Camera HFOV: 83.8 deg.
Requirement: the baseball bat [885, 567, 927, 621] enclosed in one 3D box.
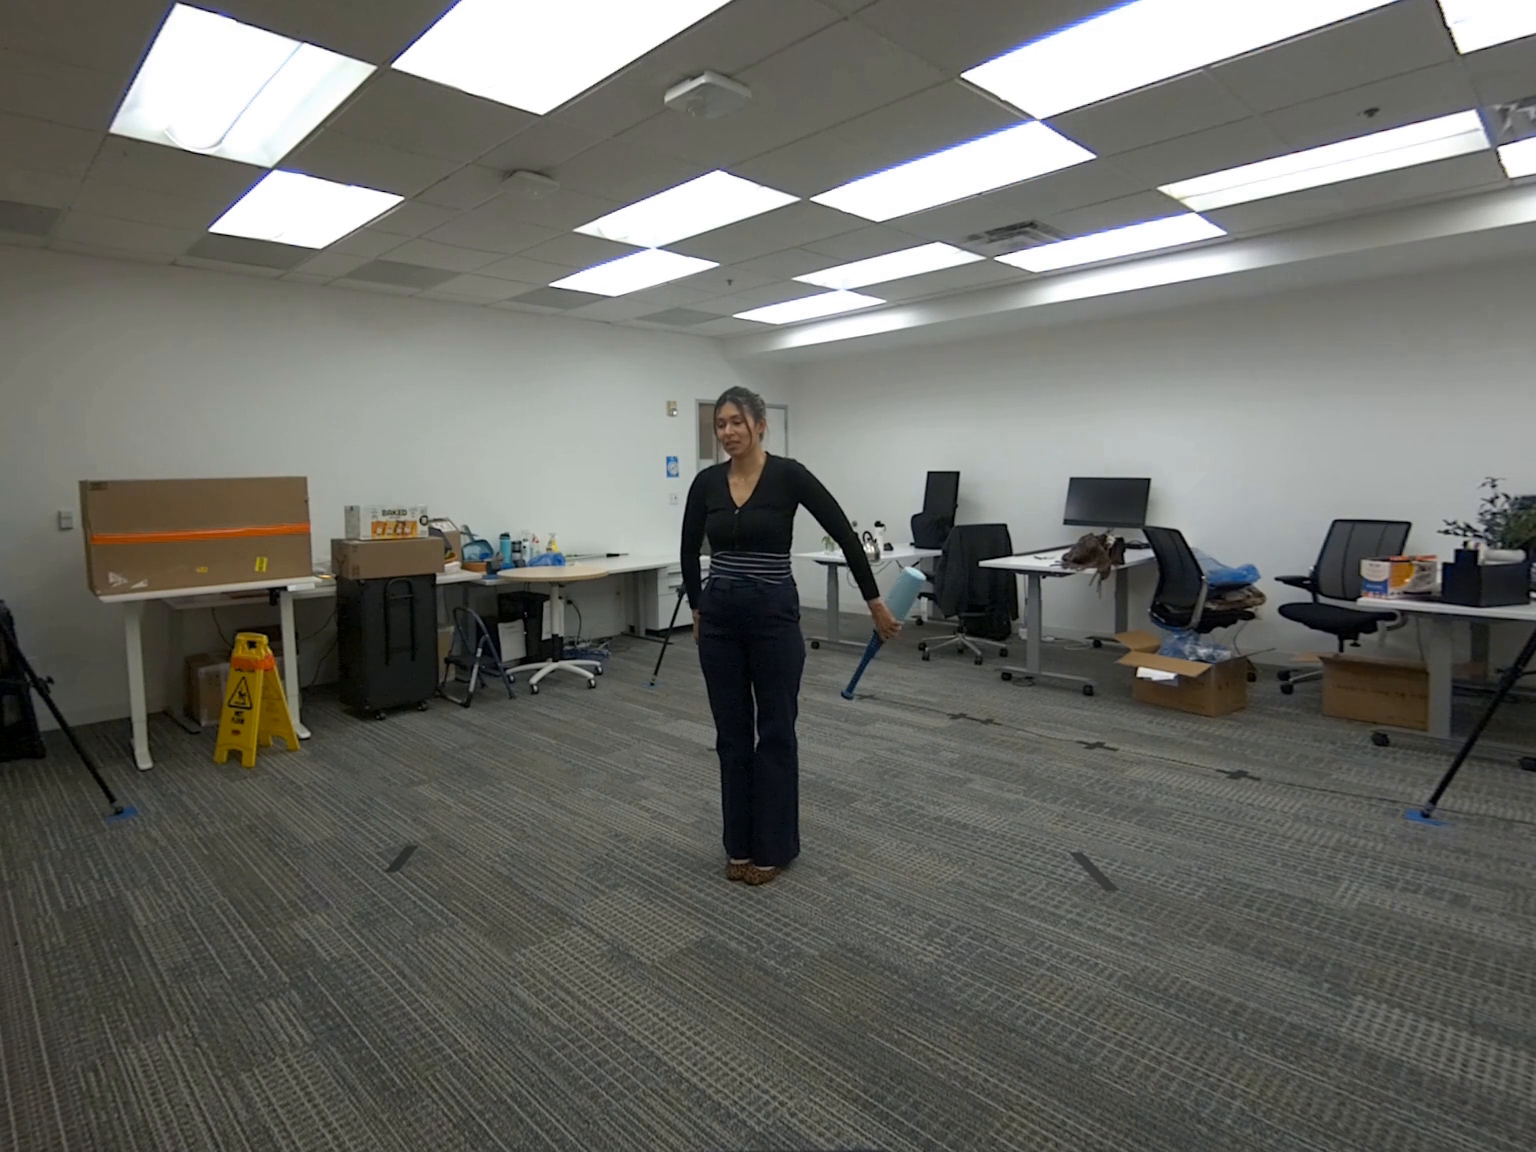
[{"bbox_3d":[0.377,0.216,2.993,0.088,0.539,0.091,23,20,-11],"label":"baseball bat"}]
